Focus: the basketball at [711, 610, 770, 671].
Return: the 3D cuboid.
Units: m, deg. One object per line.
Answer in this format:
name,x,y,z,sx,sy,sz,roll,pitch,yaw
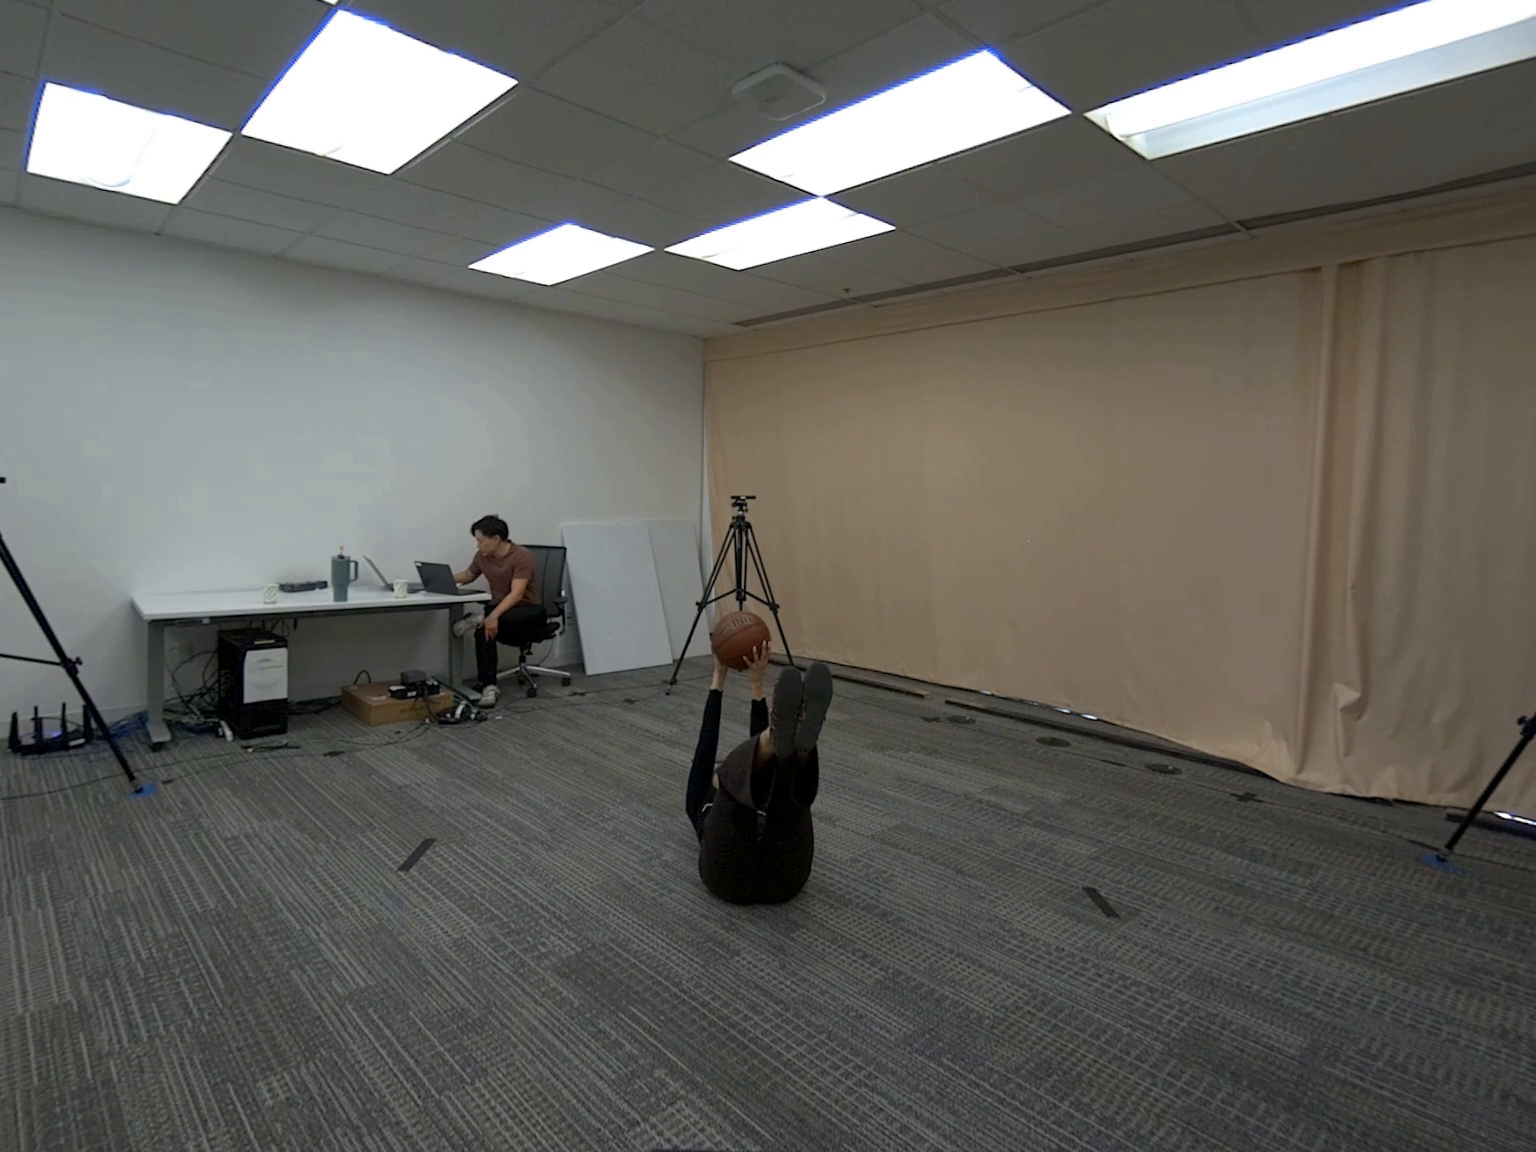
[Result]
basketball,-0.112,0.257,3.381,0.236,0.235,0.237,1,4,-1
